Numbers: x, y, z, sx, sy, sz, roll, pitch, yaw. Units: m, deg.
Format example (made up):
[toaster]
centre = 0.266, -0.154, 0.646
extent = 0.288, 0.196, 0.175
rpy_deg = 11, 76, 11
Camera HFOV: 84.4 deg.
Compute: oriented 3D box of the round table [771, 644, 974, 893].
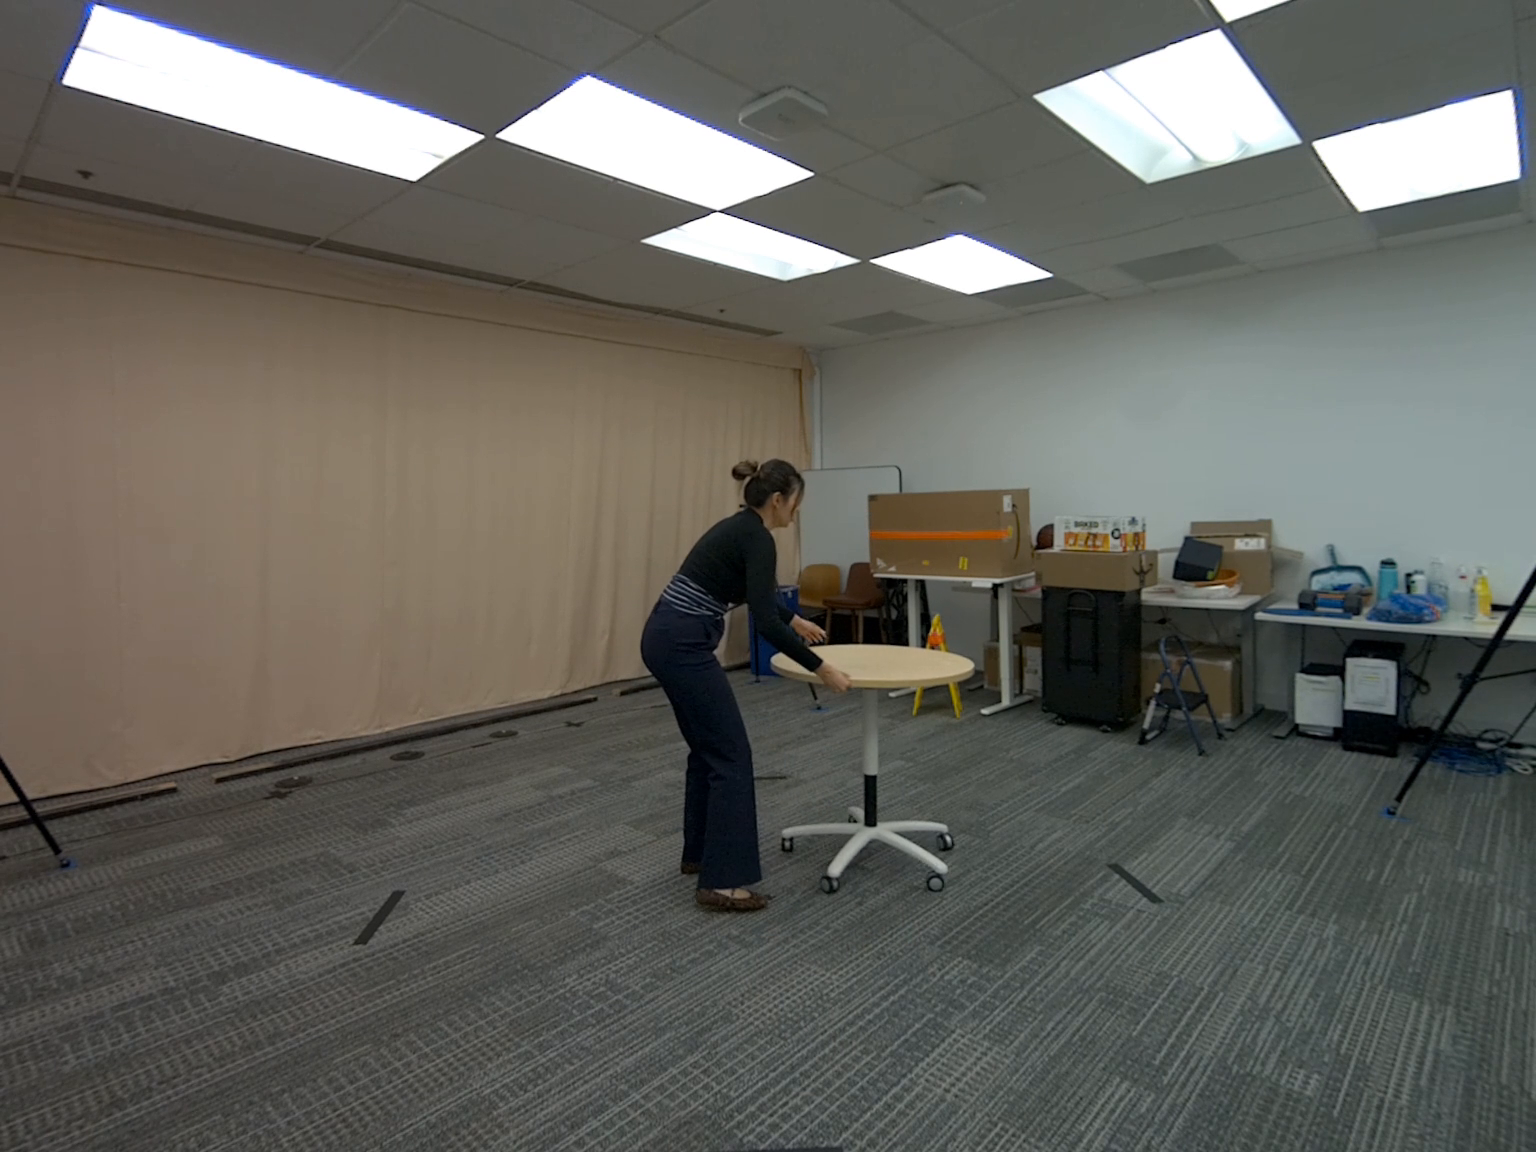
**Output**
[round table]
centre = 0.406, 0.719, 3.261
extent = 0.763, 0.792, 0.766
rpy_deg = -1, 4, -2
